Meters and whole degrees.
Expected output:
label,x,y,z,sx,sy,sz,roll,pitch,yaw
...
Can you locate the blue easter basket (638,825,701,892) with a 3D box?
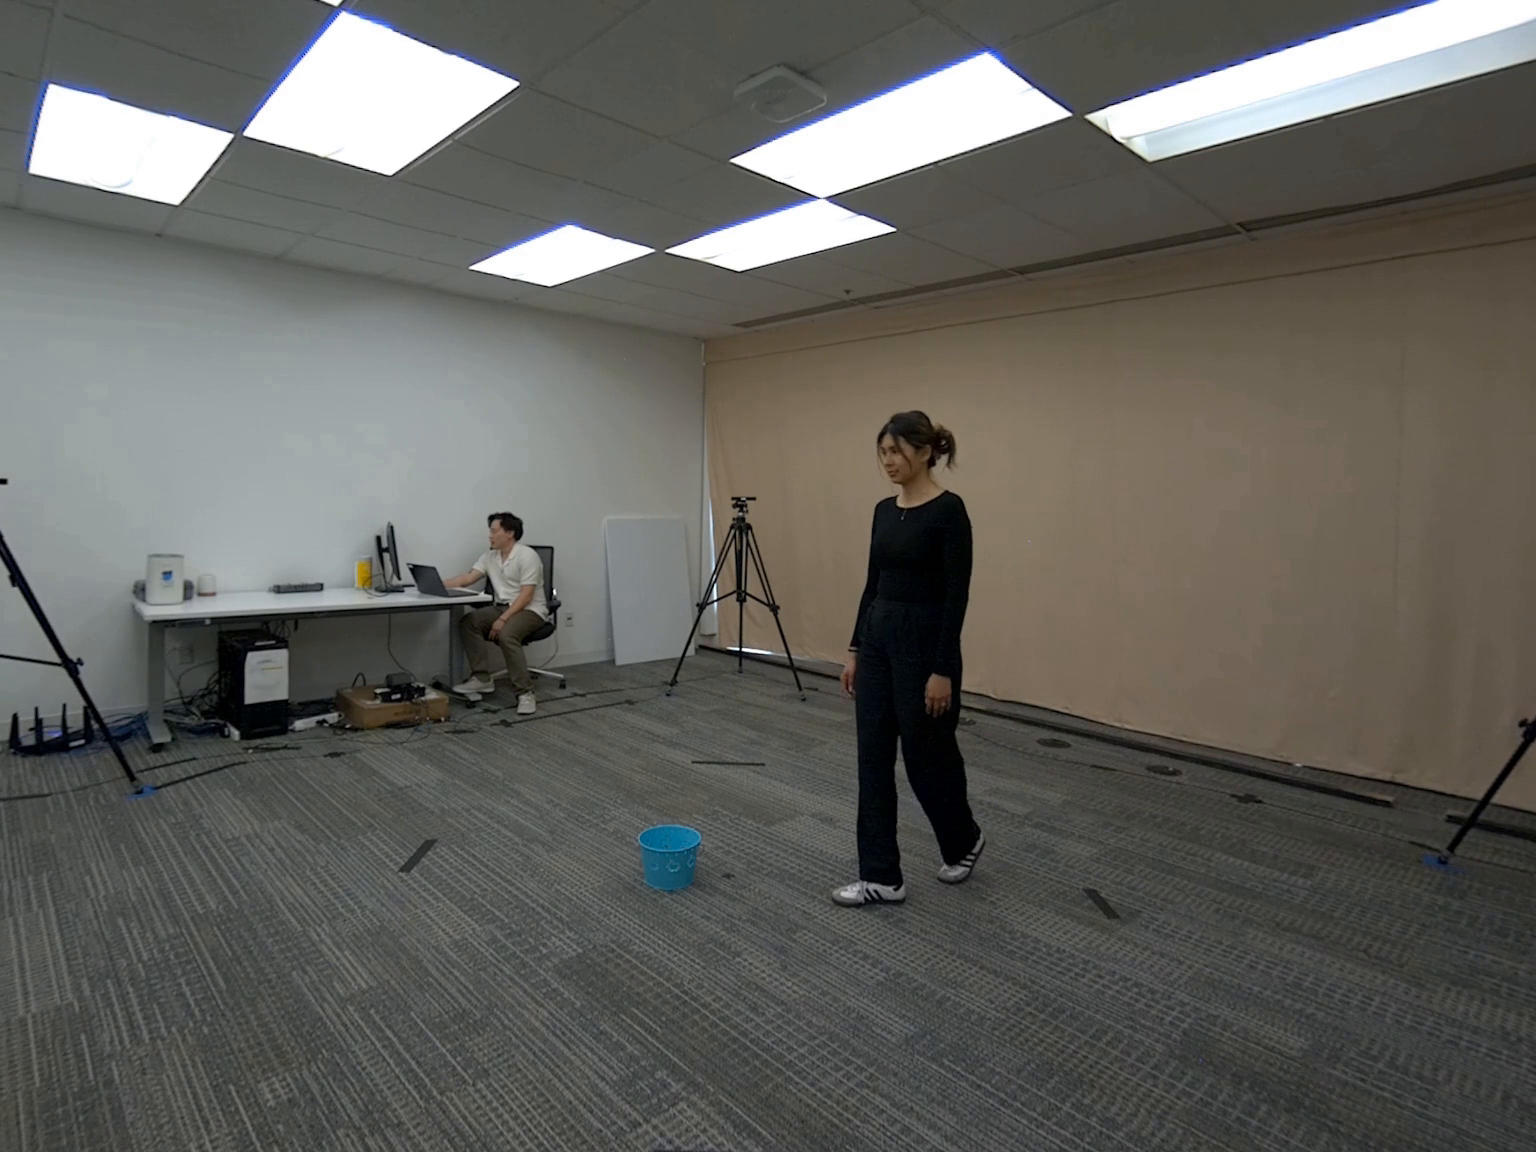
label,x,y,z,sx,sy,sz,roll,pitch,yaw
blue easter basket,-0.357,1.020,3.073,0.243,0.155,0.244,1,5,-1
